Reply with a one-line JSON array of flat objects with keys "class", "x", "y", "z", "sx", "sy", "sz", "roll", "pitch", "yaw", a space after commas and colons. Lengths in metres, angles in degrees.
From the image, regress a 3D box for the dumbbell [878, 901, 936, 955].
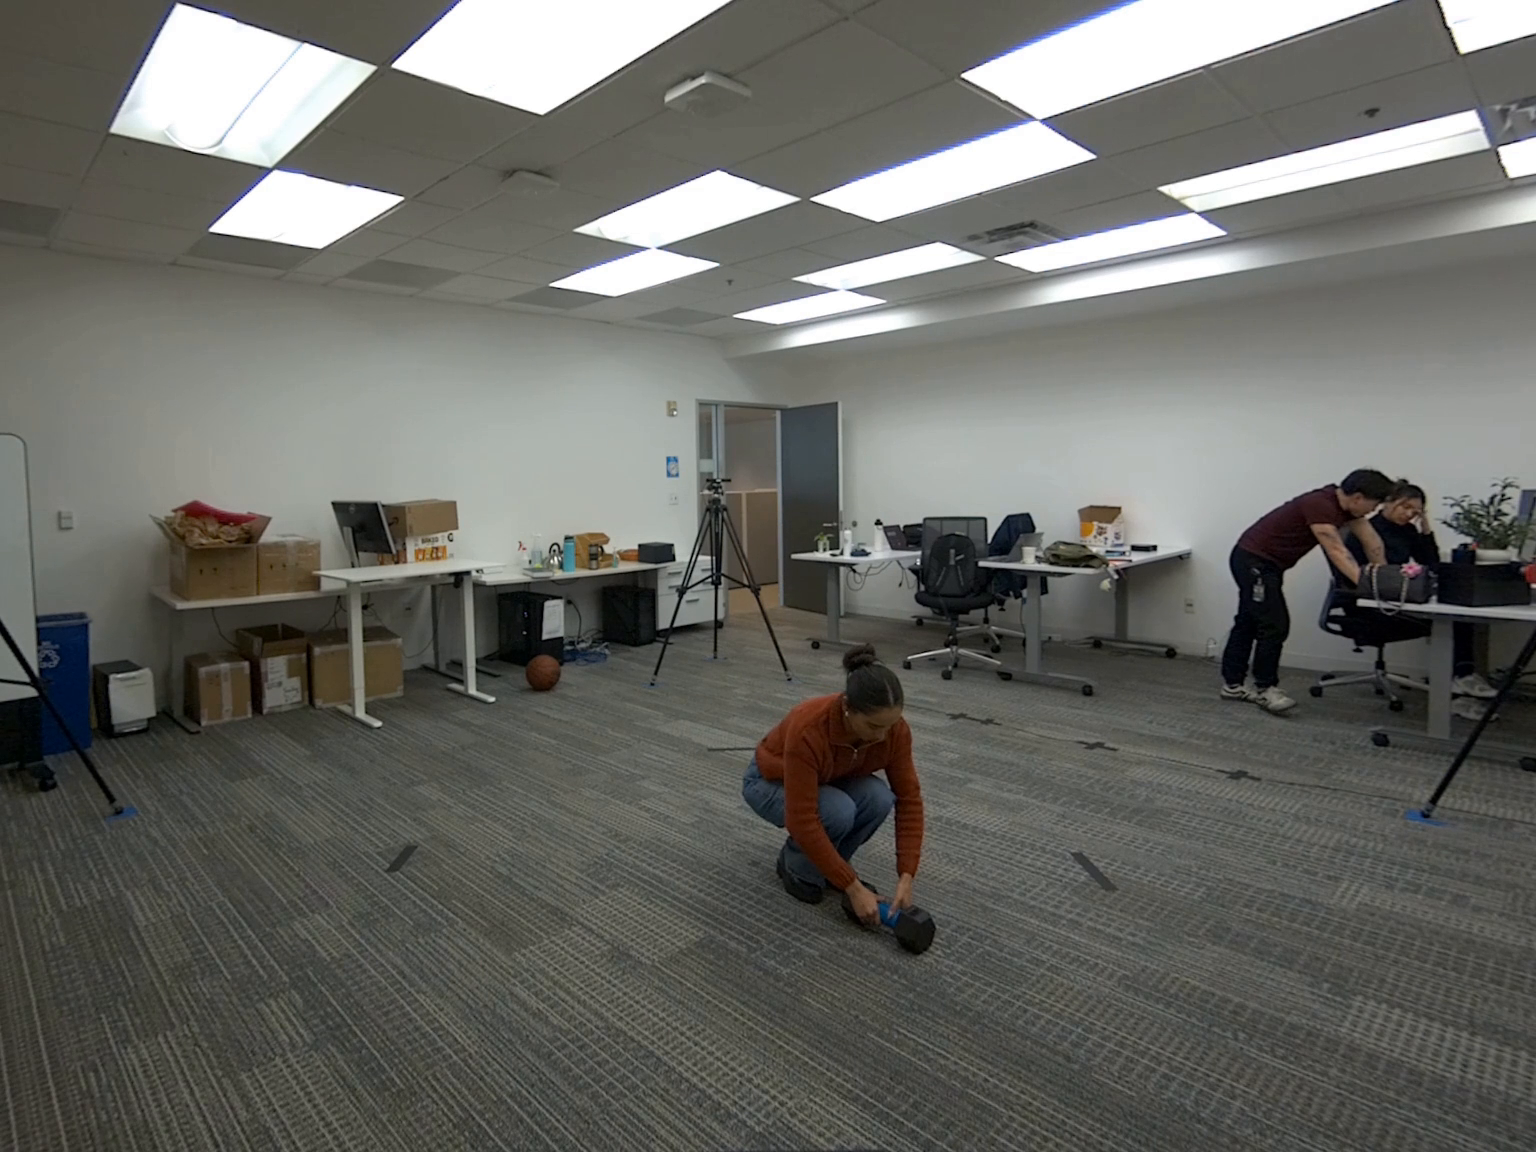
[{"class": "dumbbell", "x": 0.367, "y": 1.037, "z": 2.614, "sx": 0.105, "sy": 0.124, "sz": 0.303, "roll": 32, "pitch": -16, "yaw": -38}]
